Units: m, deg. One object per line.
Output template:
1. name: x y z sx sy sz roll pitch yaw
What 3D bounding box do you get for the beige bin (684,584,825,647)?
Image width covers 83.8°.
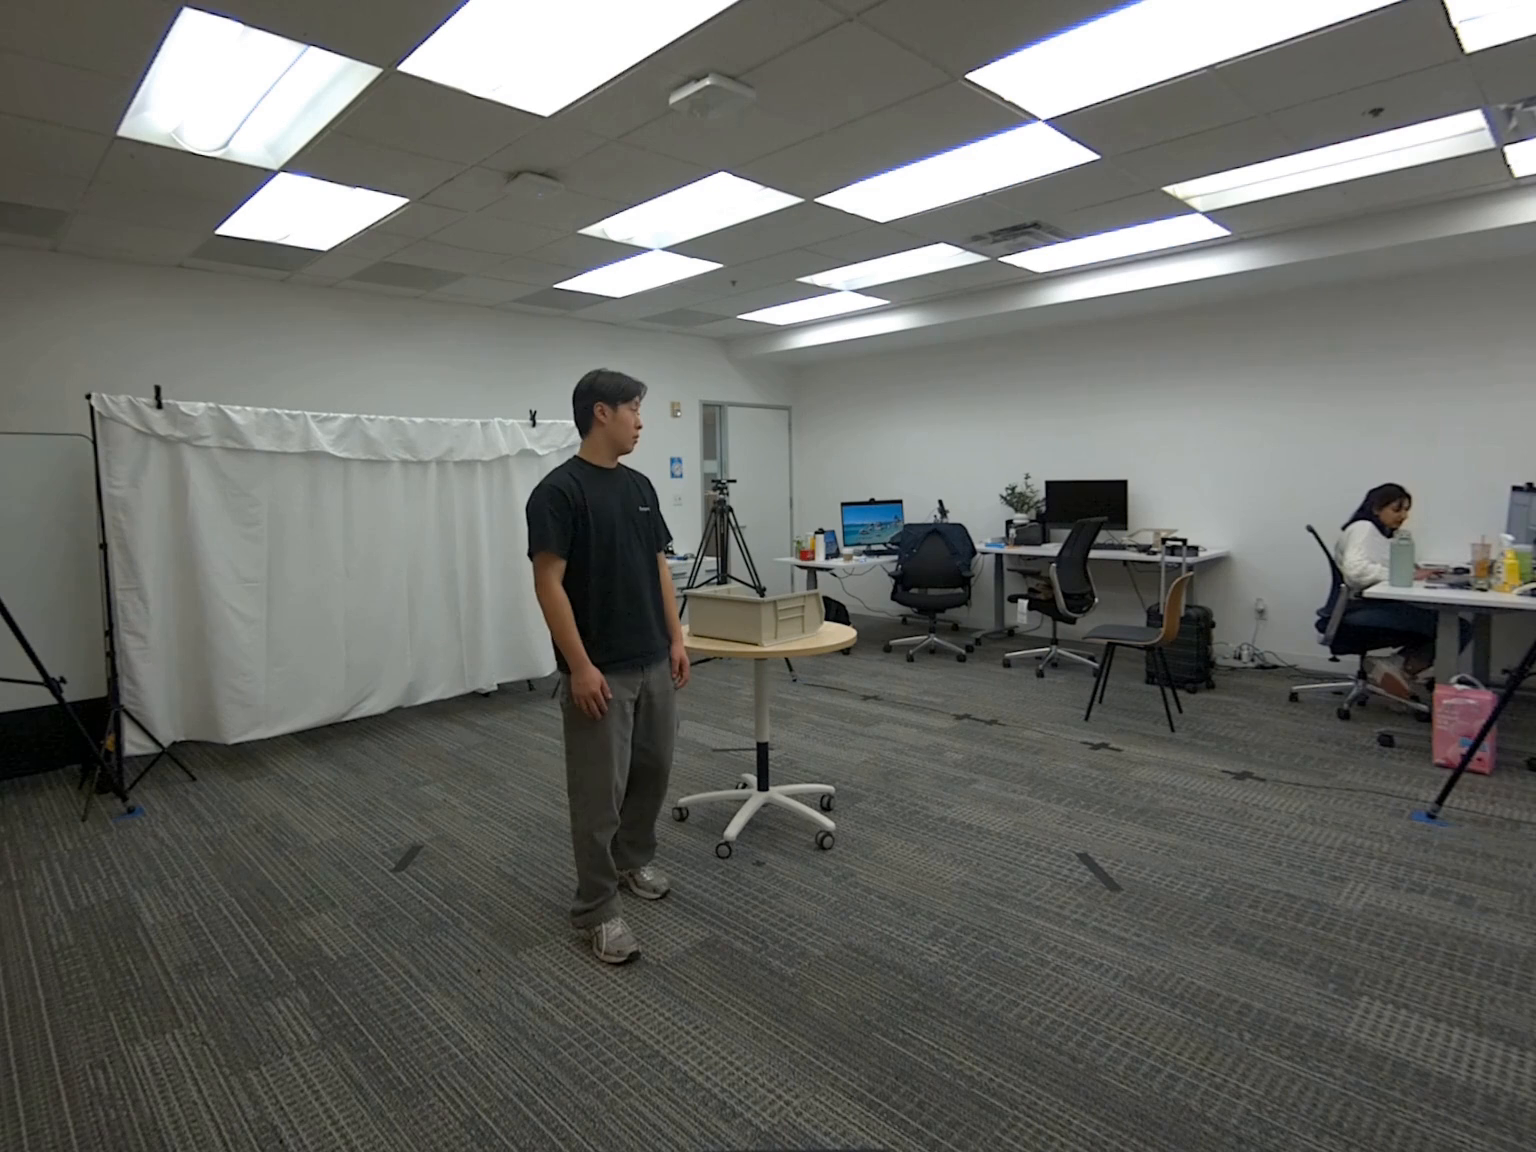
1. beige bin: -0.055 0.145 3.374 0.435 0.188 0.368 5 9 41
